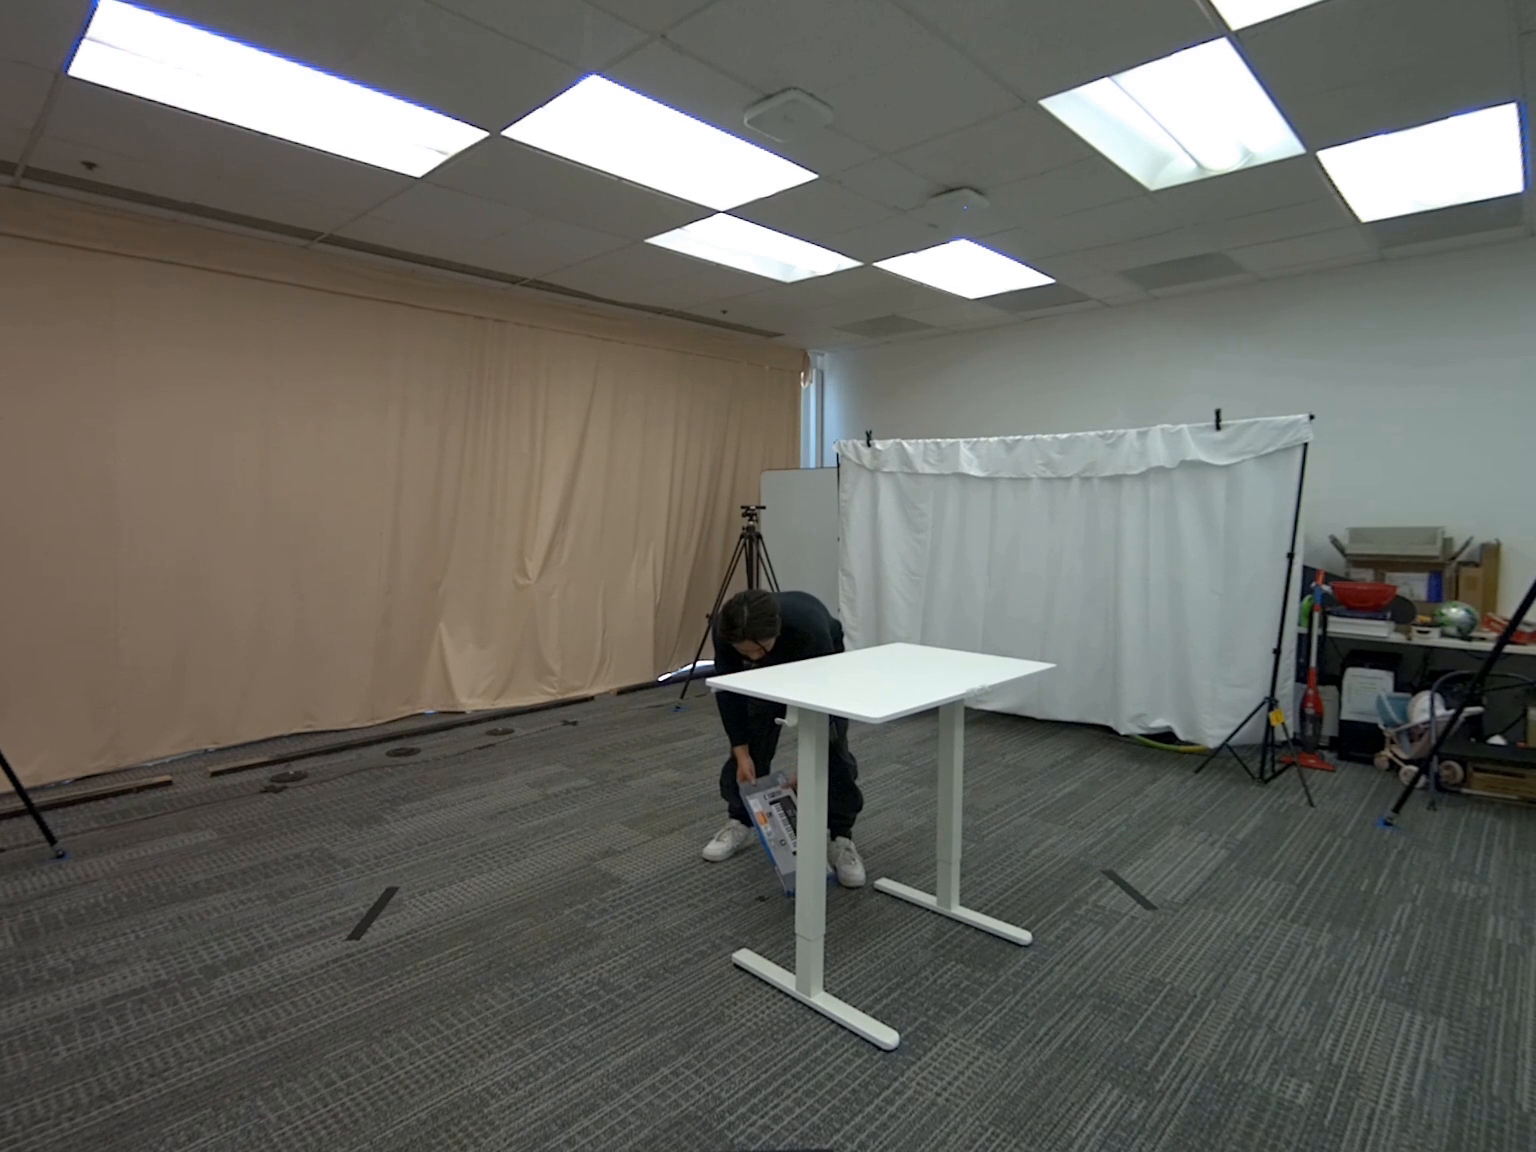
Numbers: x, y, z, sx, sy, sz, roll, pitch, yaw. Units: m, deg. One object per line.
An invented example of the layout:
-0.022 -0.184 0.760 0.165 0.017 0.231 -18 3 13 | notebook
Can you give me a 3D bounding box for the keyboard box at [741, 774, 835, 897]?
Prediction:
0.066 0.906 2.942 0.173 0.058 0.451 -13 42 -15 | keyboard box
